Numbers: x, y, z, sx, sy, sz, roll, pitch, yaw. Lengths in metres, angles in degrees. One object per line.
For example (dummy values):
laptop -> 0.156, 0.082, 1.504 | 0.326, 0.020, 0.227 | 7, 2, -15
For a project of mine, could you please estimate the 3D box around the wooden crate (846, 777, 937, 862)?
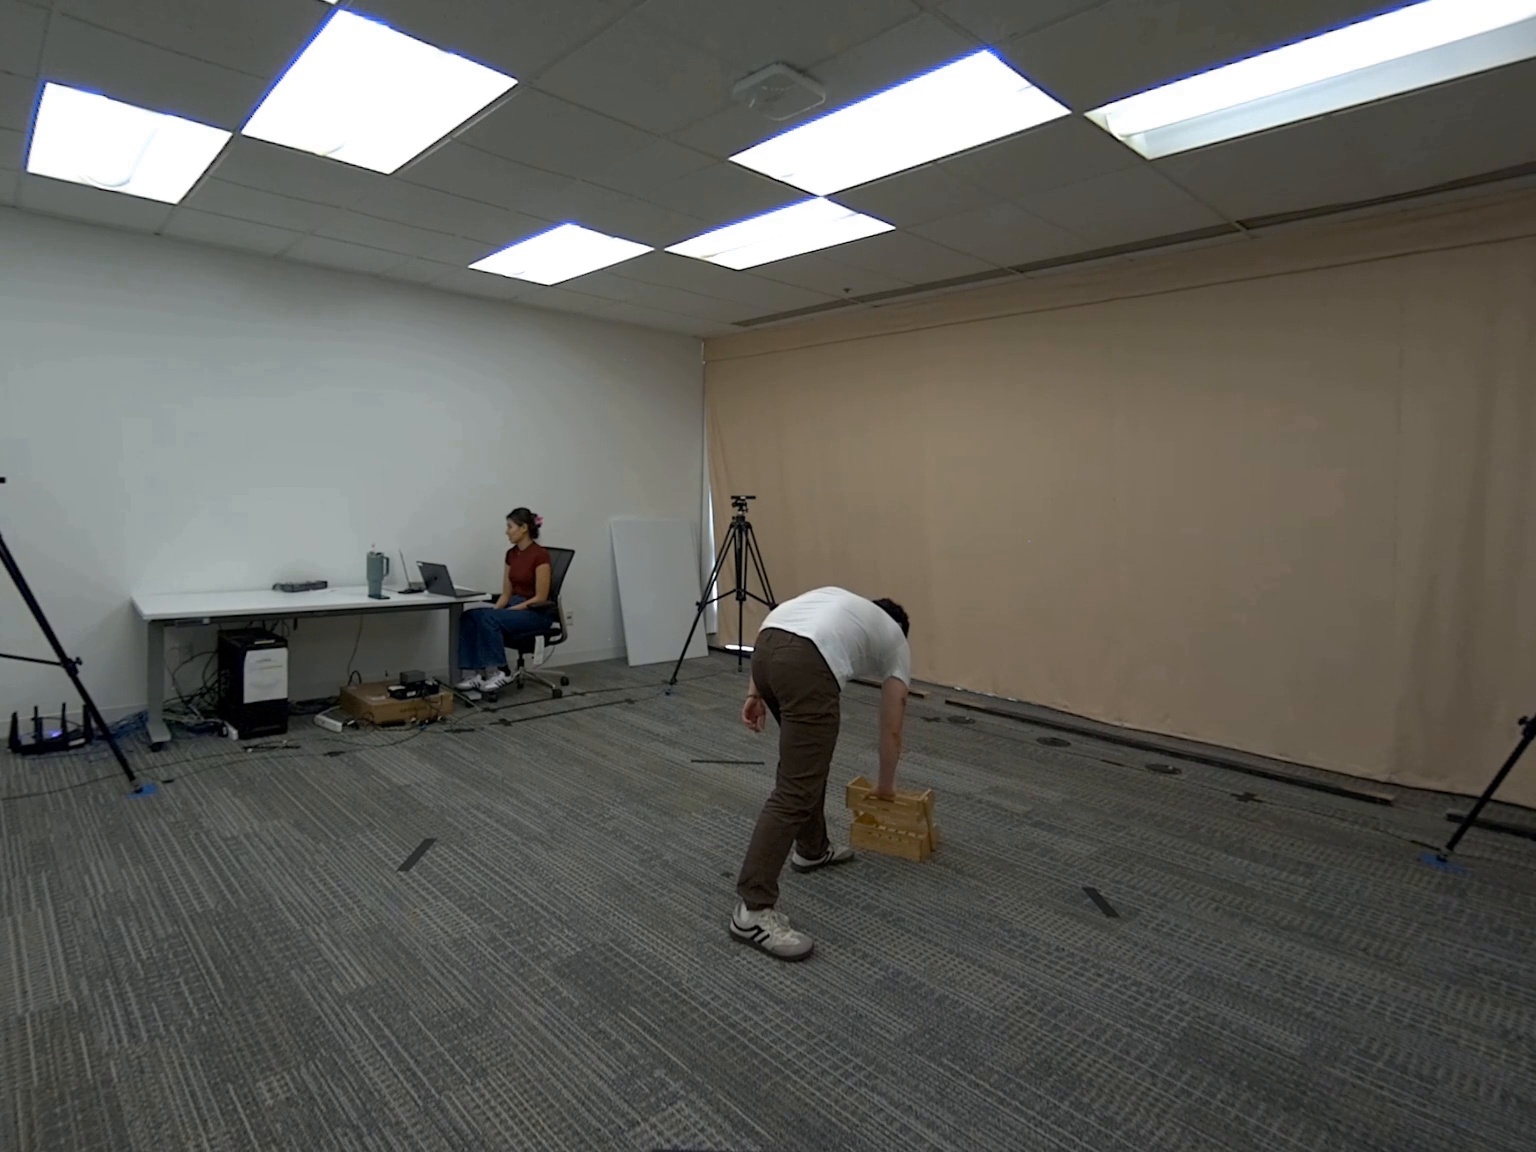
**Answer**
wooden crate -> 0.501, 0.956, 3.407 | 0.331, 0.272, 0.297 | 4, 6, 29
